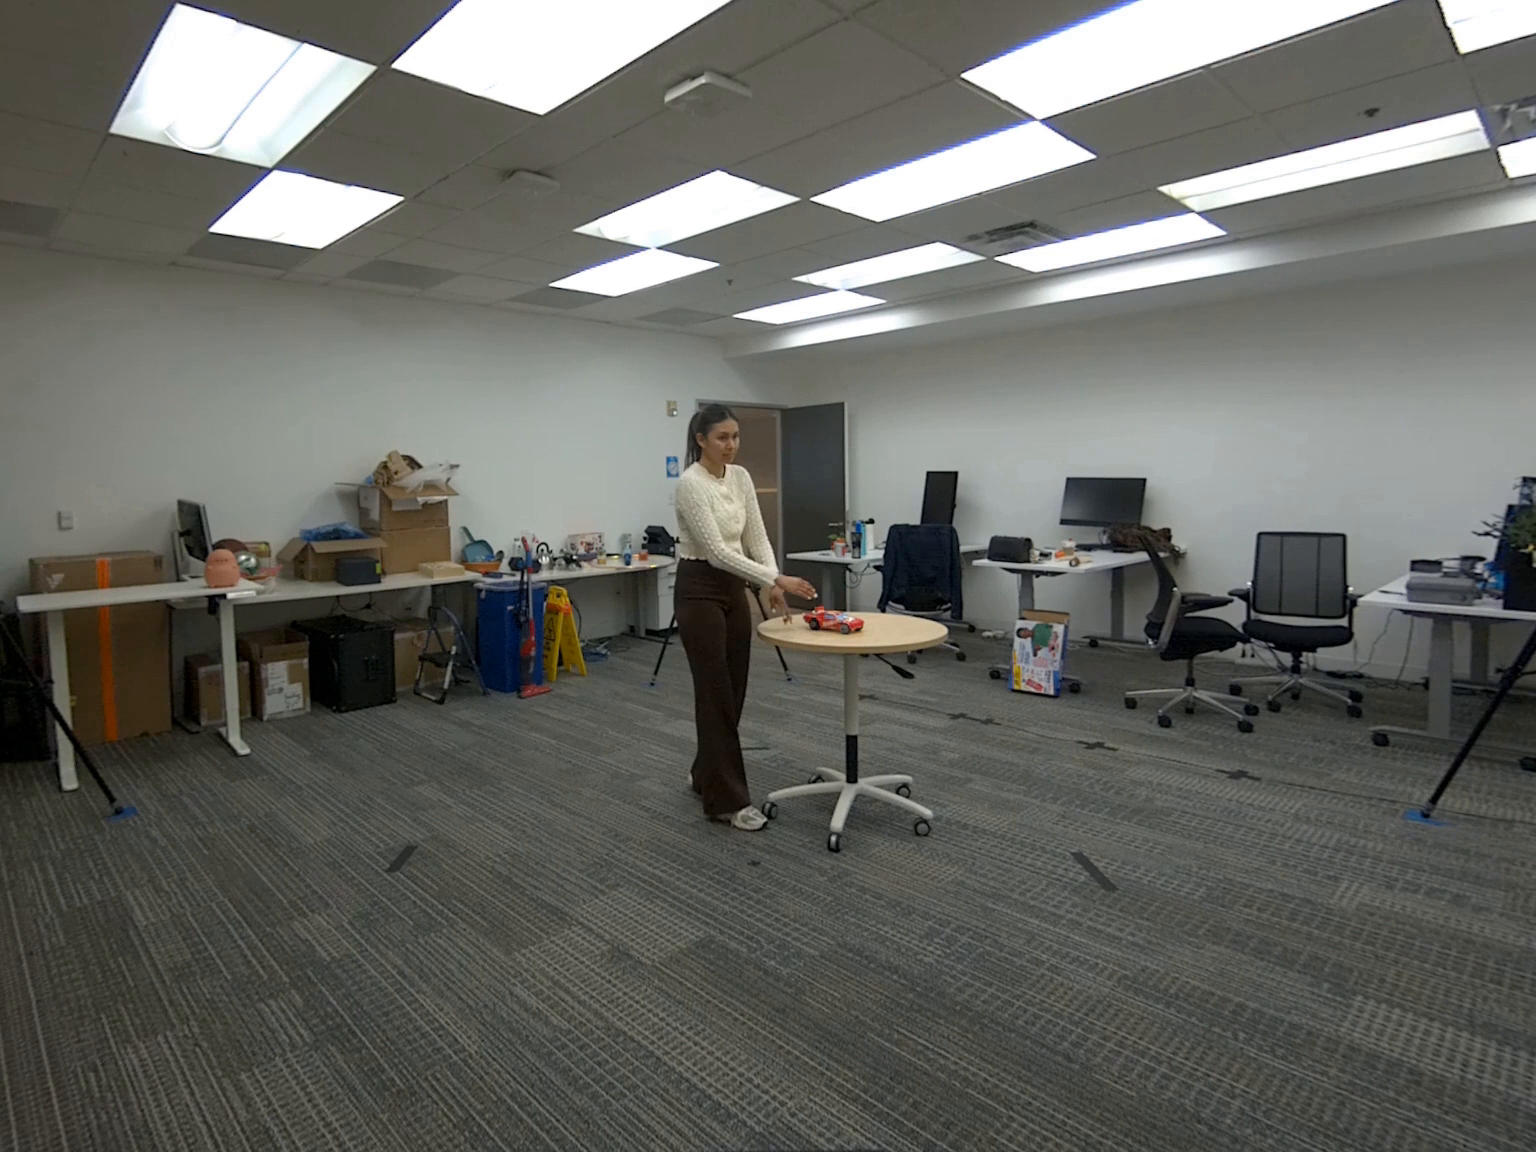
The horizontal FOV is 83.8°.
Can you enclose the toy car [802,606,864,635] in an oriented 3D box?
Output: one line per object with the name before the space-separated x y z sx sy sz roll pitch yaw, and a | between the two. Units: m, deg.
toy car | 0.259 0.184 3.445 0.263 0.082 0.127 18 16 38
